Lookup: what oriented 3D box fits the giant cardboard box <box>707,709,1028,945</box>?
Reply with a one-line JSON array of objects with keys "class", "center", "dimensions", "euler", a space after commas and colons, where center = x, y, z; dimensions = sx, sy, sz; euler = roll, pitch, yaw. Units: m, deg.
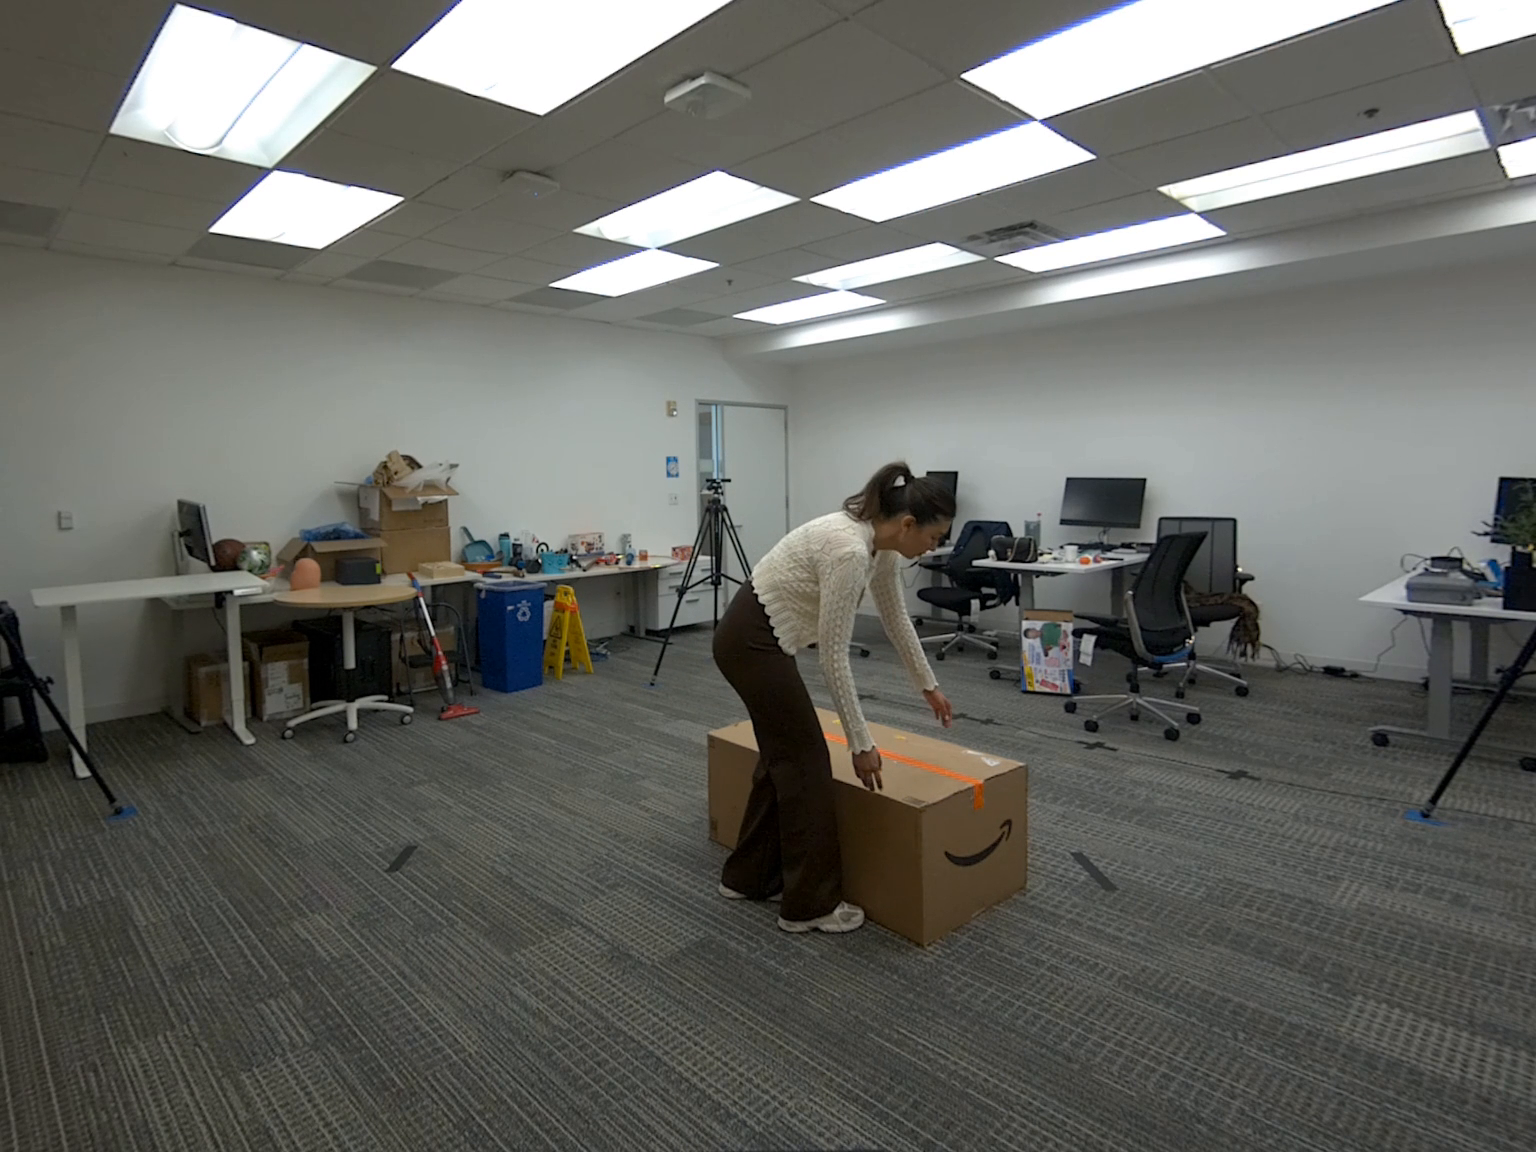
[{"class": "giant cardboard box", "center": [0.322, 0.824, 3.094], "dimensions": [0.562, 0.424, 1.058], "euler": [-5, 7, -41]}]
